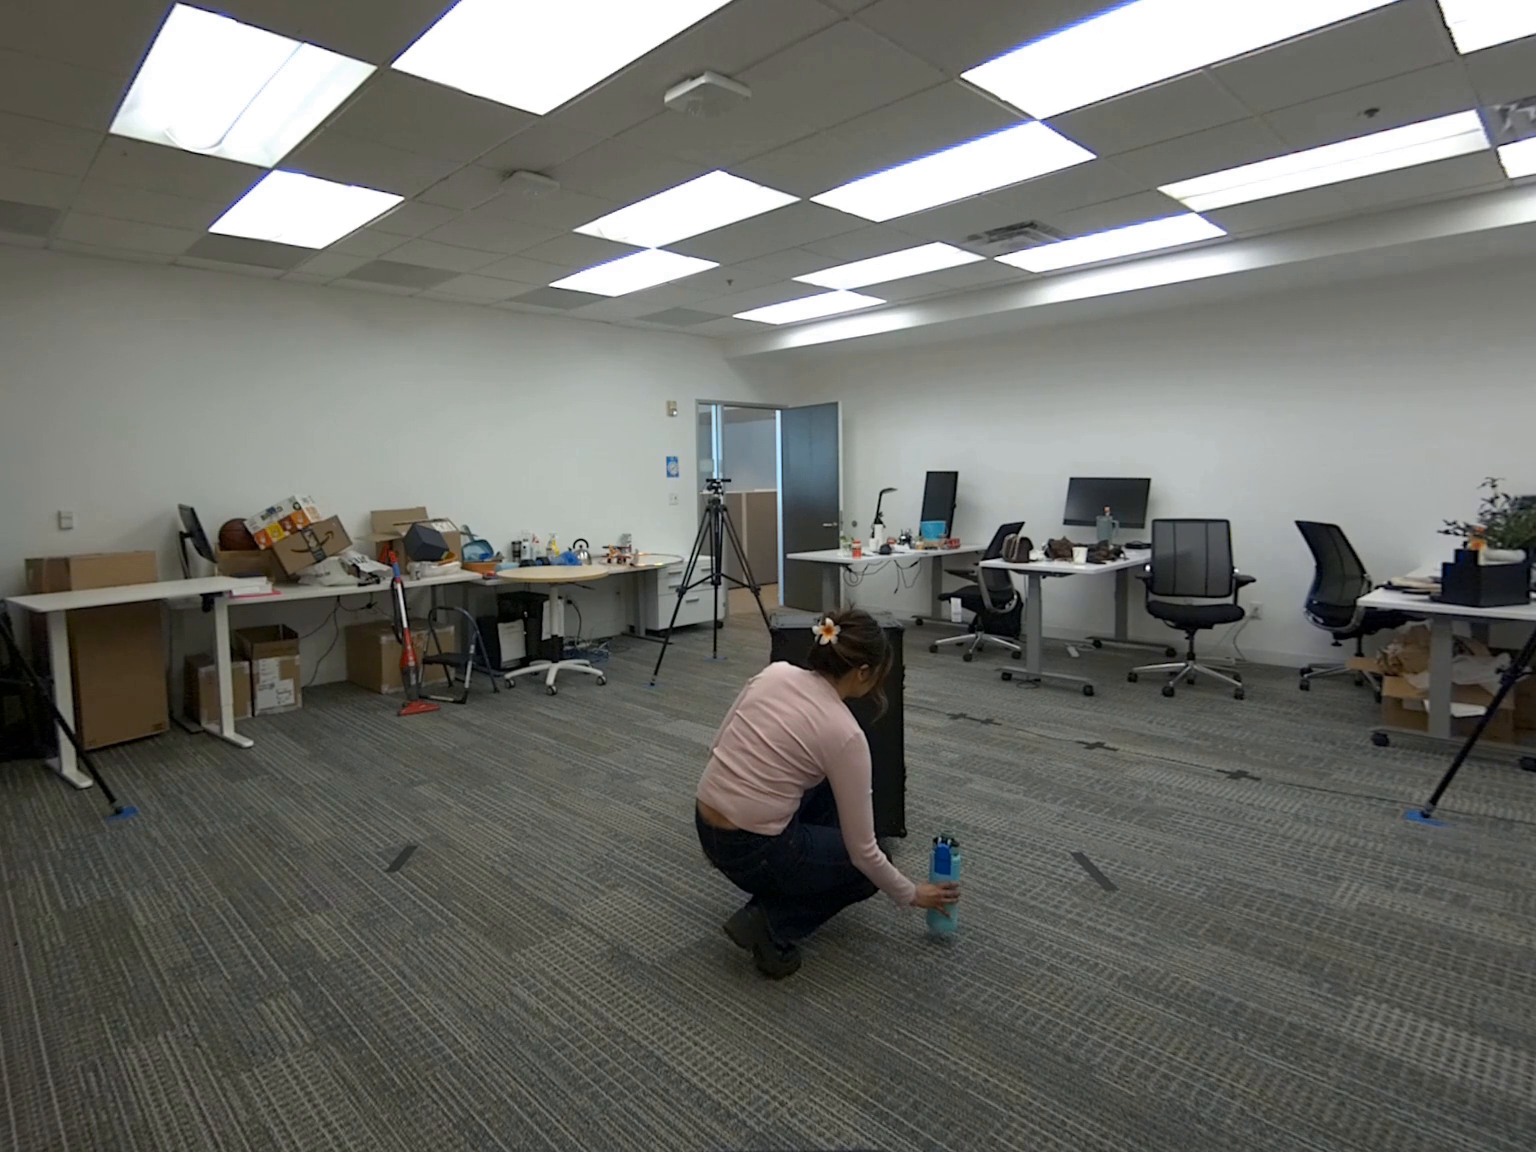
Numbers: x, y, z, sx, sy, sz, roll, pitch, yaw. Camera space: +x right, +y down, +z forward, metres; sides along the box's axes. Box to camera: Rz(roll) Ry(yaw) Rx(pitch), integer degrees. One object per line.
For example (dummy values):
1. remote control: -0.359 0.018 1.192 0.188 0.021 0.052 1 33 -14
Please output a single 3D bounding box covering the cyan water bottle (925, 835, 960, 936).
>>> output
1. cyan water bottle: 0.519 0.911 2.568 0.092 0.282 0.093 3 6 -2
